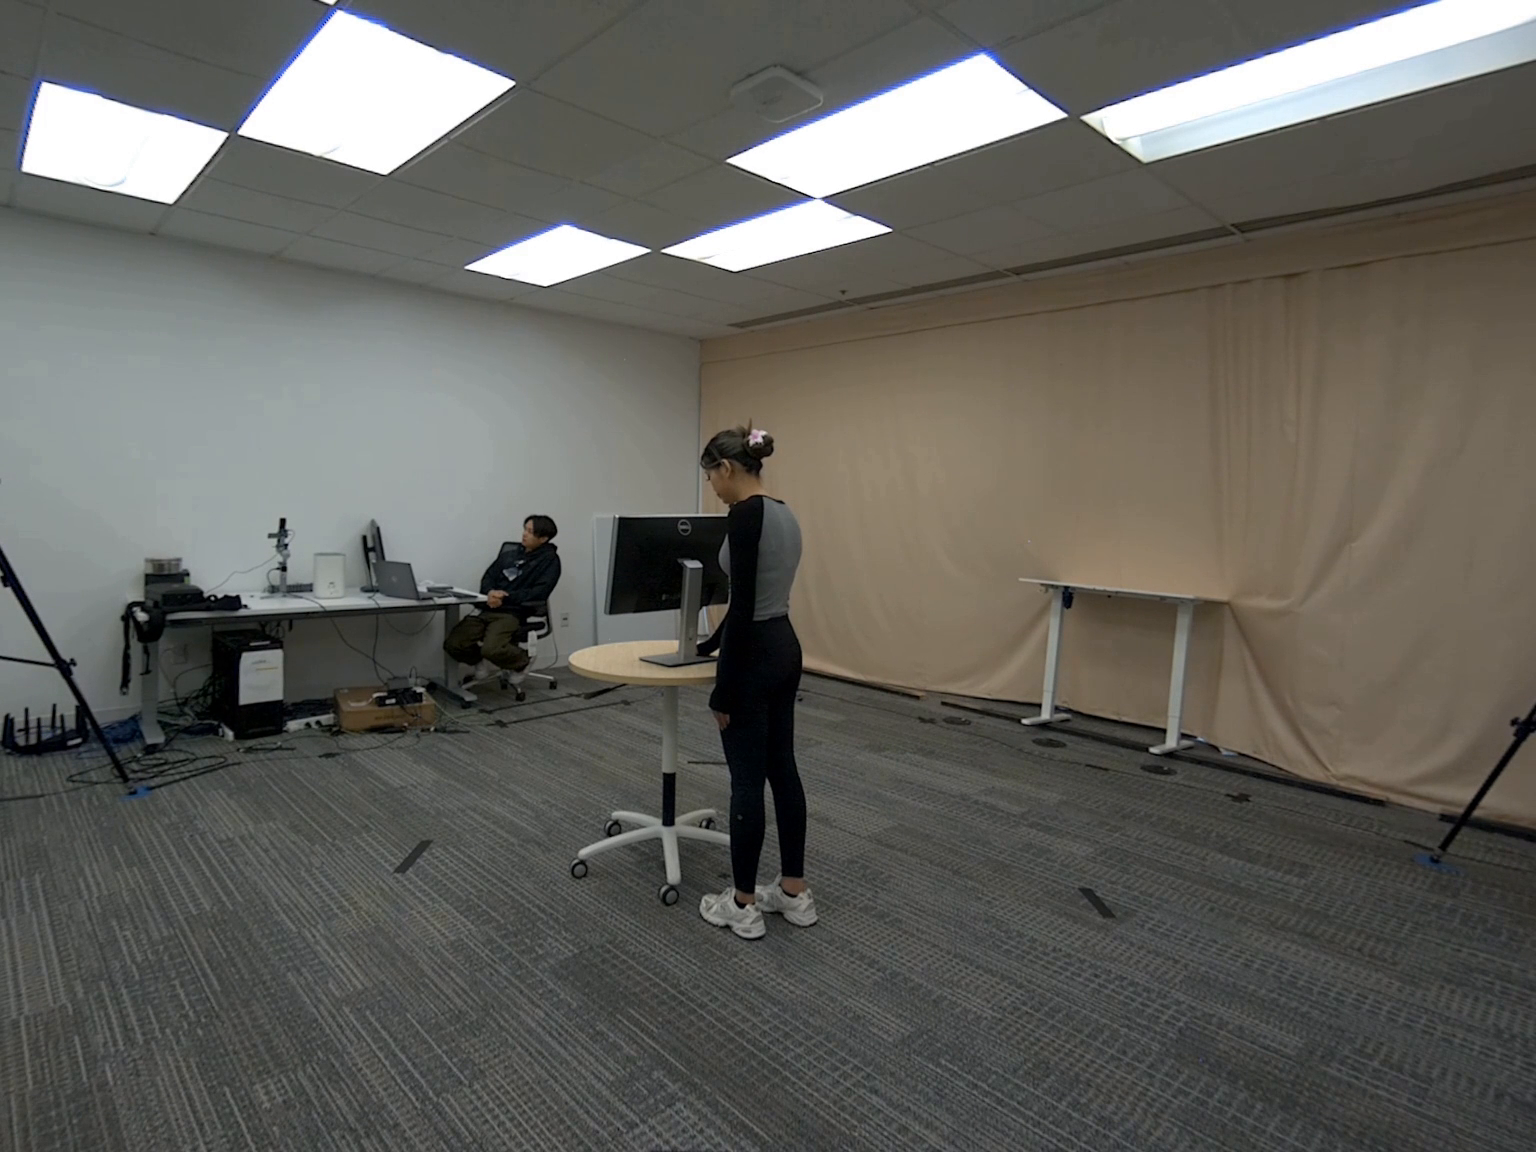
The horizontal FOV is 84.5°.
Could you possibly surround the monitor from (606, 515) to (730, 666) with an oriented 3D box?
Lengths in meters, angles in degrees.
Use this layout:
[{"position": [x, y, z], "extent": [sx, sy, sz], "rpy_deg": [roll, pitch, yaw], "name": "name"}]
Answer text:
[{"position": [-0.327, 0.046, 3.110], "extent": [0.527, 0.522, 0.192], "rpy_deg": [-3, 4, -43], "name": "monitor"}]
